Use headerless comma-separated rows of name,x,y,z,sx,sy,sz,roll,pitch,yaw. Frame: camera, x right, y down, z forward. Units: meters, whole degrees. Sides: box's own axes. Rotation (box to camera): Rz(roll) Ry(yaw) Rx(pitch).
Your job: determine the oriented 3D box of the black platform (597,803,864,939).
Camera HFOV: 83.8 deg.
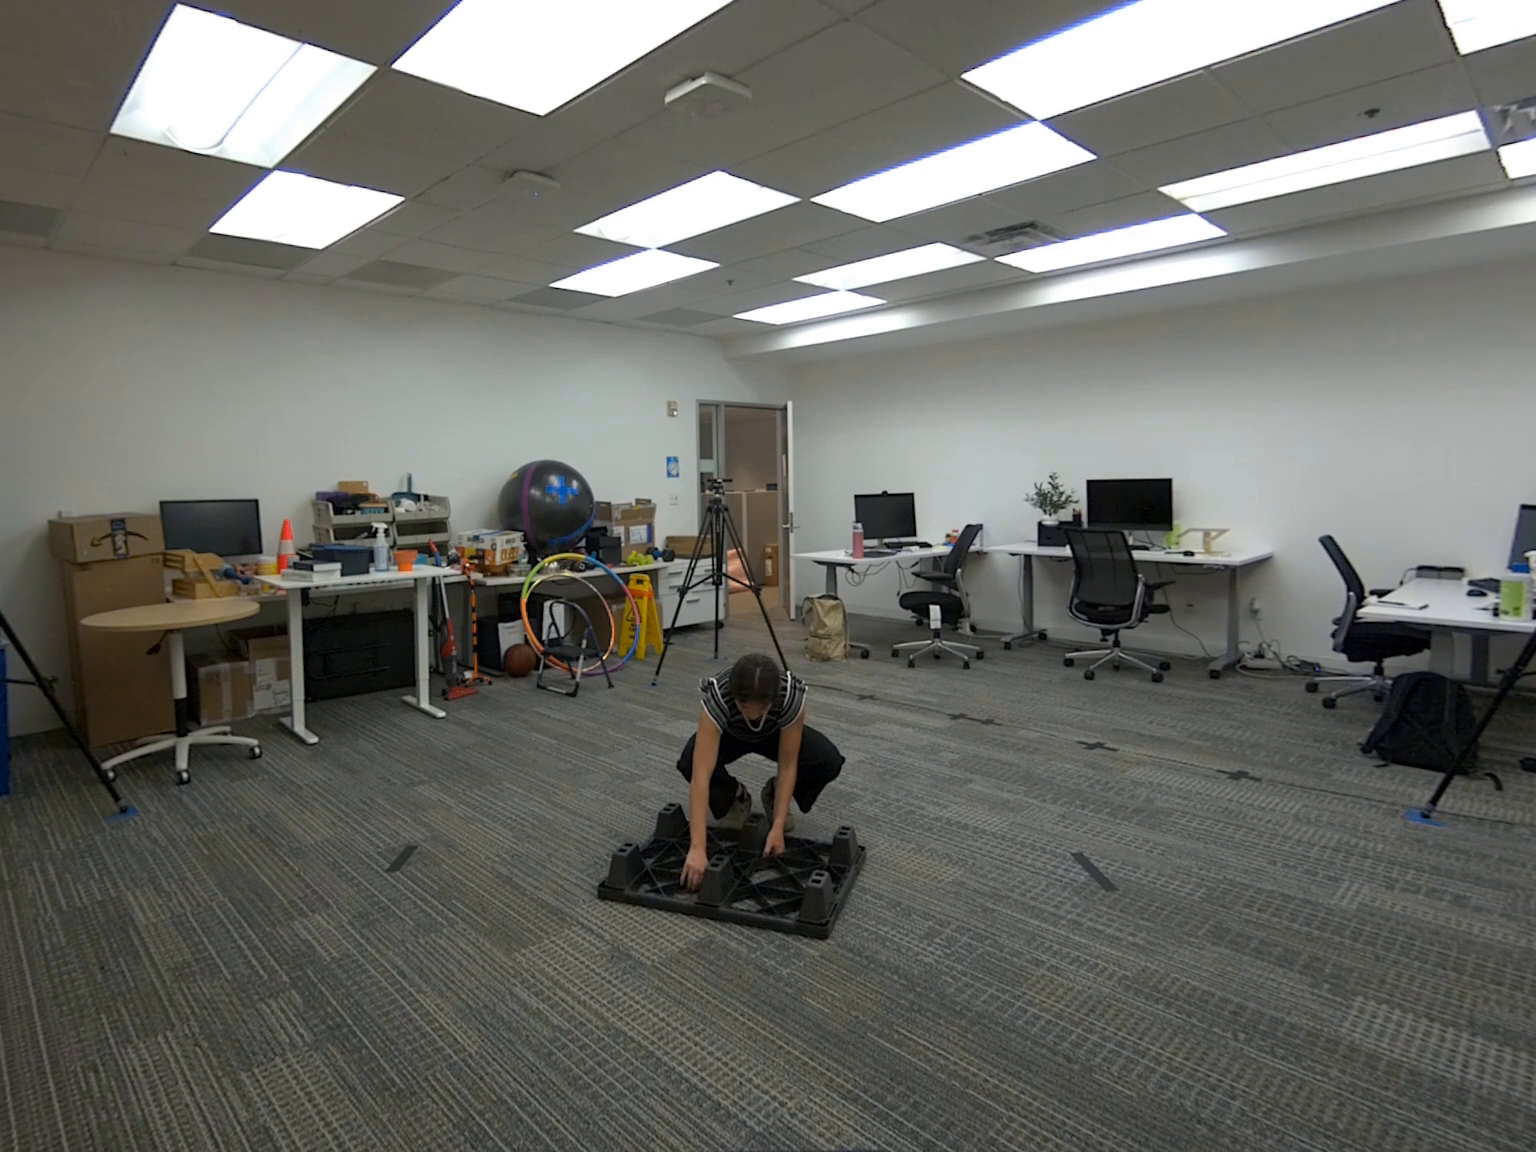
black platform,-0.104,0.989,2.994,0.821,0.142,0.597,2,8,19
